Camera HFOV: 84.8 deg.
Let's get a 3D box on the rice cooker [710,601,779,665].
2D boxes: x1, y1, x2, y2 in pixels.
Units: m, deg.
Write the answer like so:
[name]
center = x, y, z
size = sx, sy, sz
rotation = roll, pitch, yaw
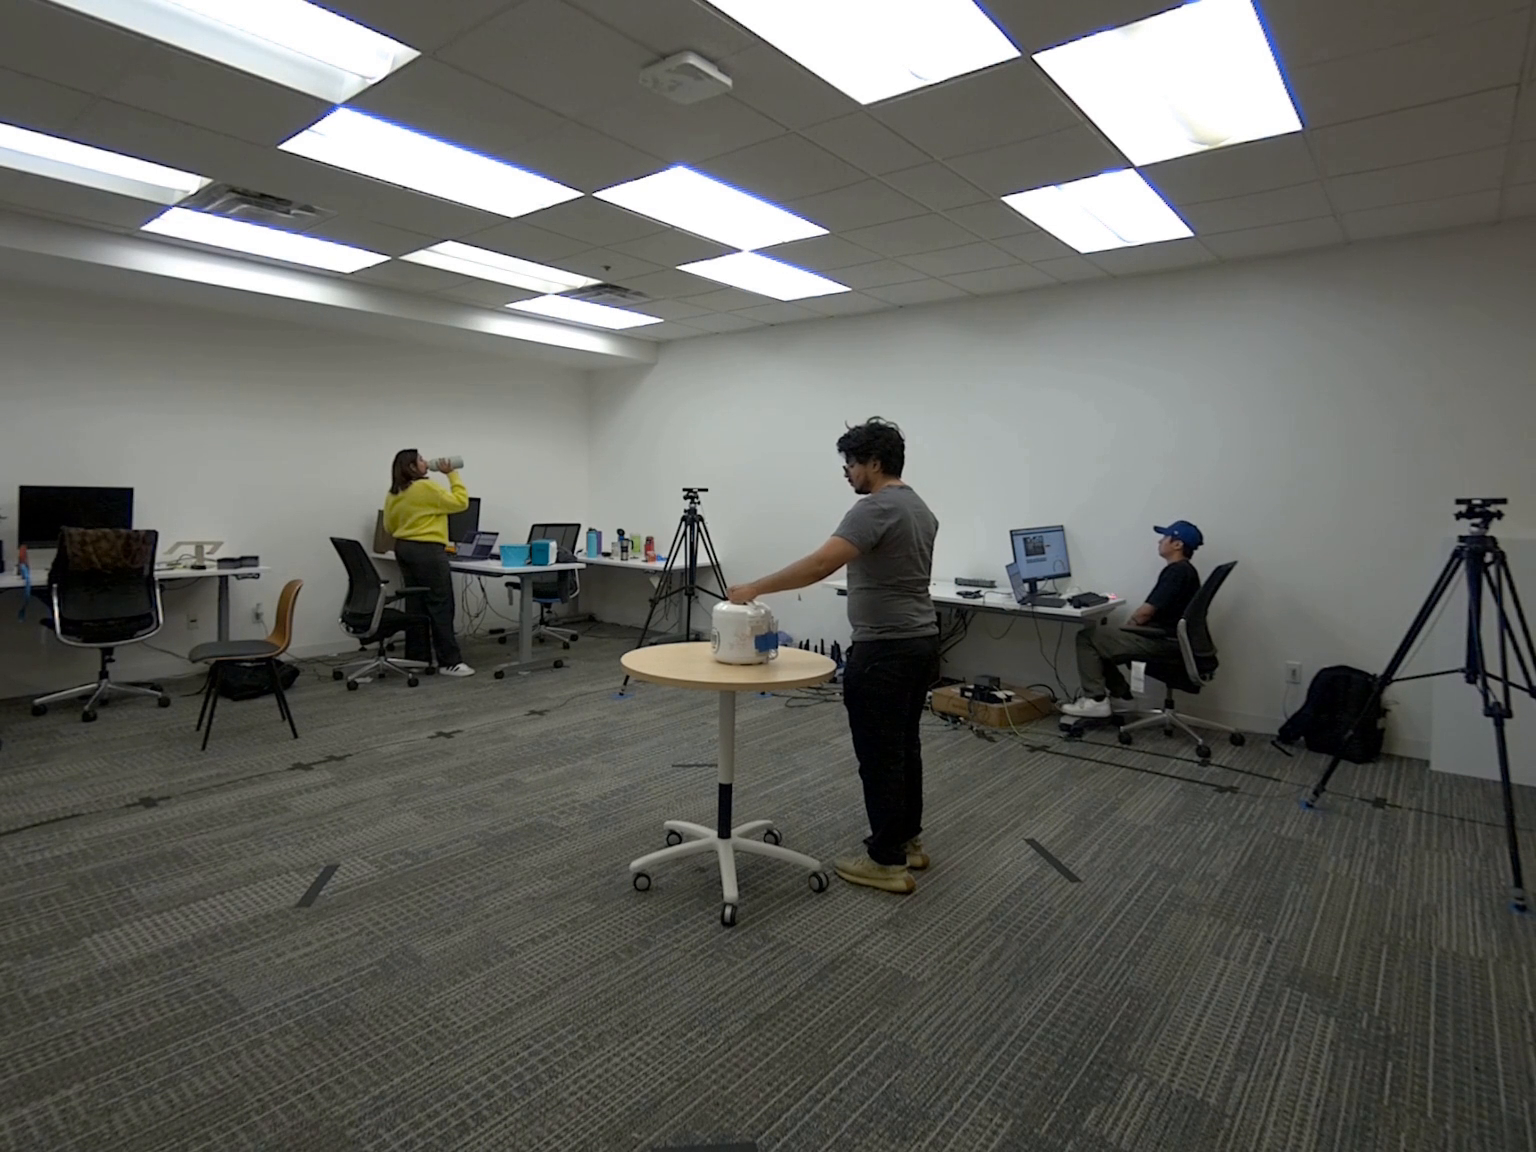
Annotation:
[rice cooker]
center = -0.104, 0.182, 3.022
size = 0.211, 0.232, 0.227
rotation = 0, 3, -30
